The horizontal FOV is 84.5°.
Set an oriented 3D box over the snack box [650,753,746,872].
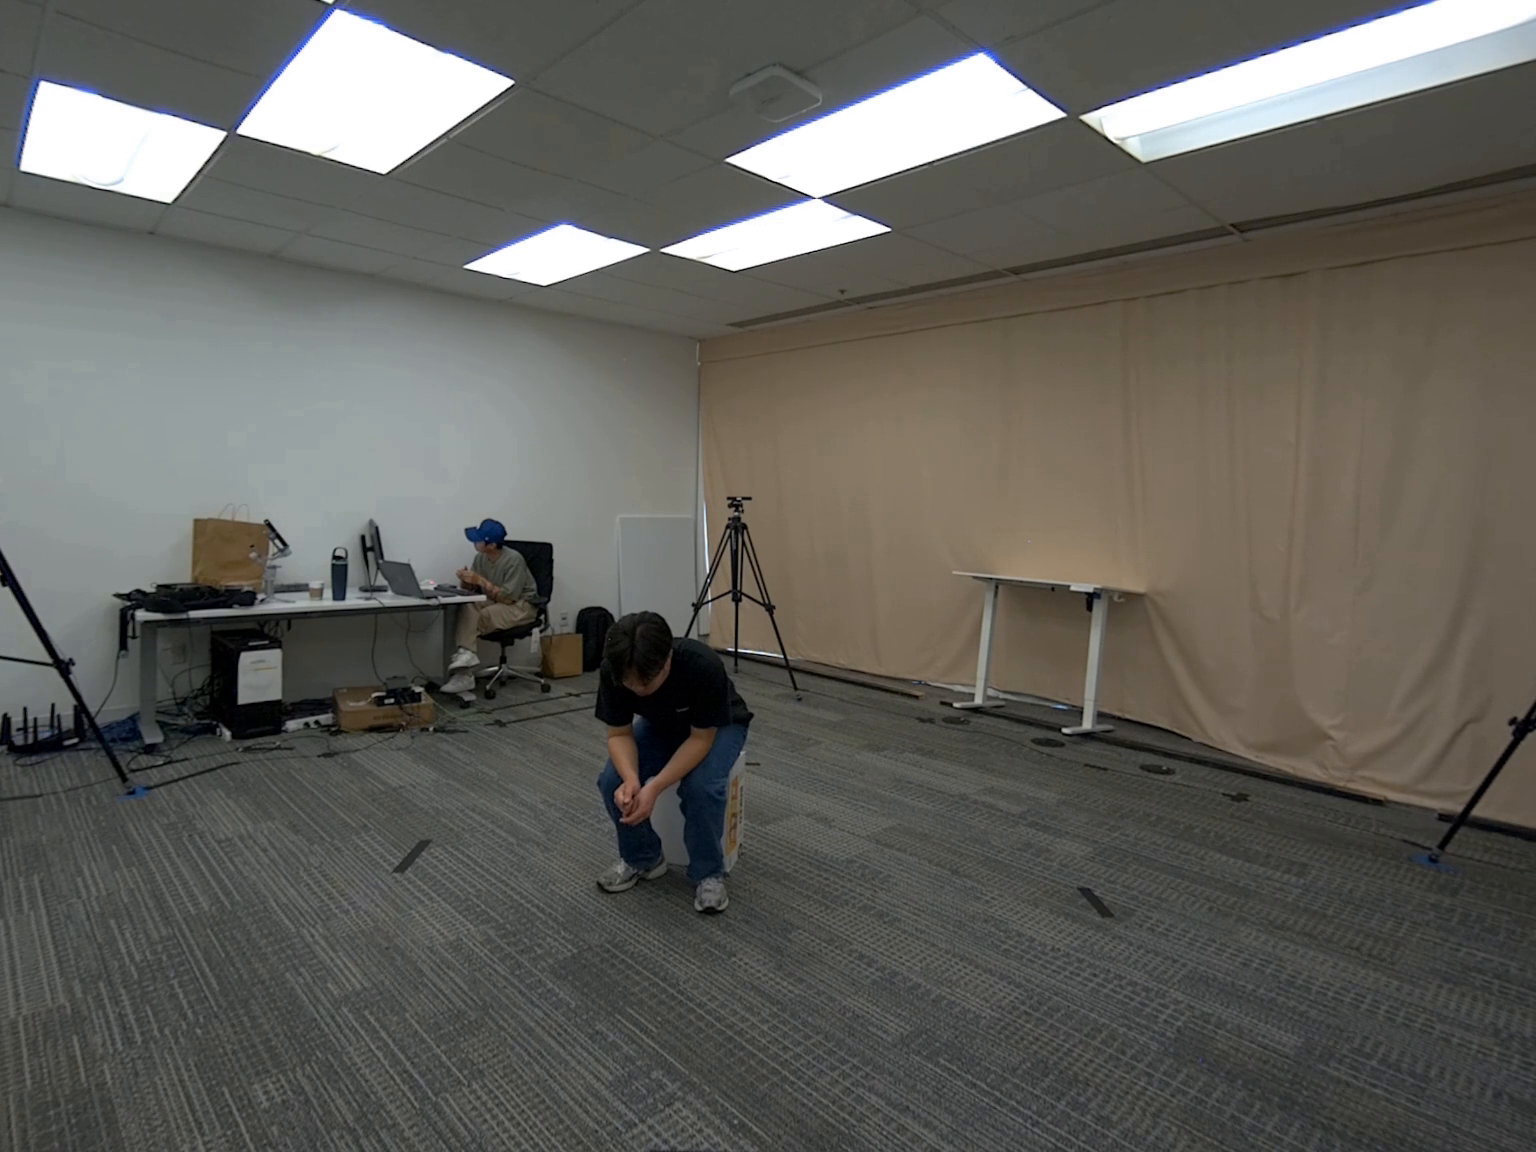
[{"bbox_3d":[-0.281,0.891,3.255,0.345,0.404,0.203,3,4,16],"label":"snack box"}]
